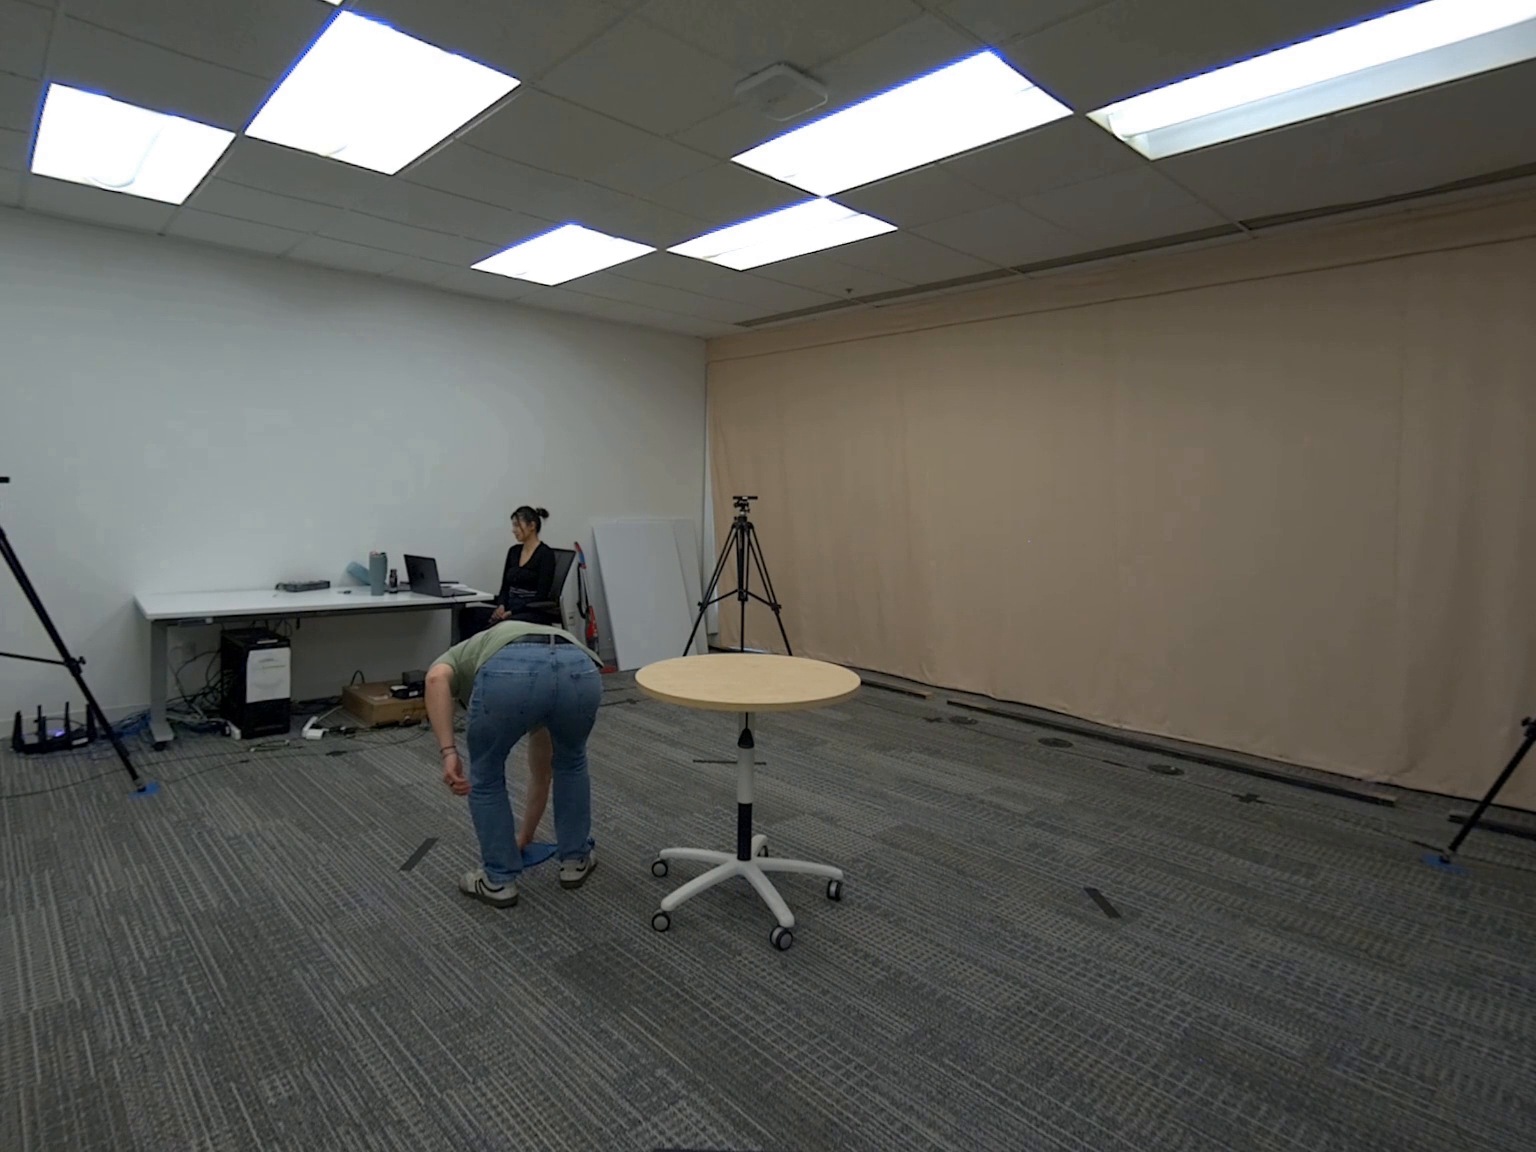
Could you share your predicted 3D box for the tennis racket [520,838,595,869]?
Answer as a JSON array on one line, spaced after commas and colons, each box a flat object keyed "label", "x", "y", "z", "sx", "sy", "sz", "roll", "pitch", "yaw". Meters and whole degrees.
[{"label": "tennis racket", "x": -0.893, "y": 1.067, "z": 3.242, "sx": 0.426, "sy": 0.031, "sz": 0.218, "roll": -5, "pitch": 8, "yaw": -23}]
